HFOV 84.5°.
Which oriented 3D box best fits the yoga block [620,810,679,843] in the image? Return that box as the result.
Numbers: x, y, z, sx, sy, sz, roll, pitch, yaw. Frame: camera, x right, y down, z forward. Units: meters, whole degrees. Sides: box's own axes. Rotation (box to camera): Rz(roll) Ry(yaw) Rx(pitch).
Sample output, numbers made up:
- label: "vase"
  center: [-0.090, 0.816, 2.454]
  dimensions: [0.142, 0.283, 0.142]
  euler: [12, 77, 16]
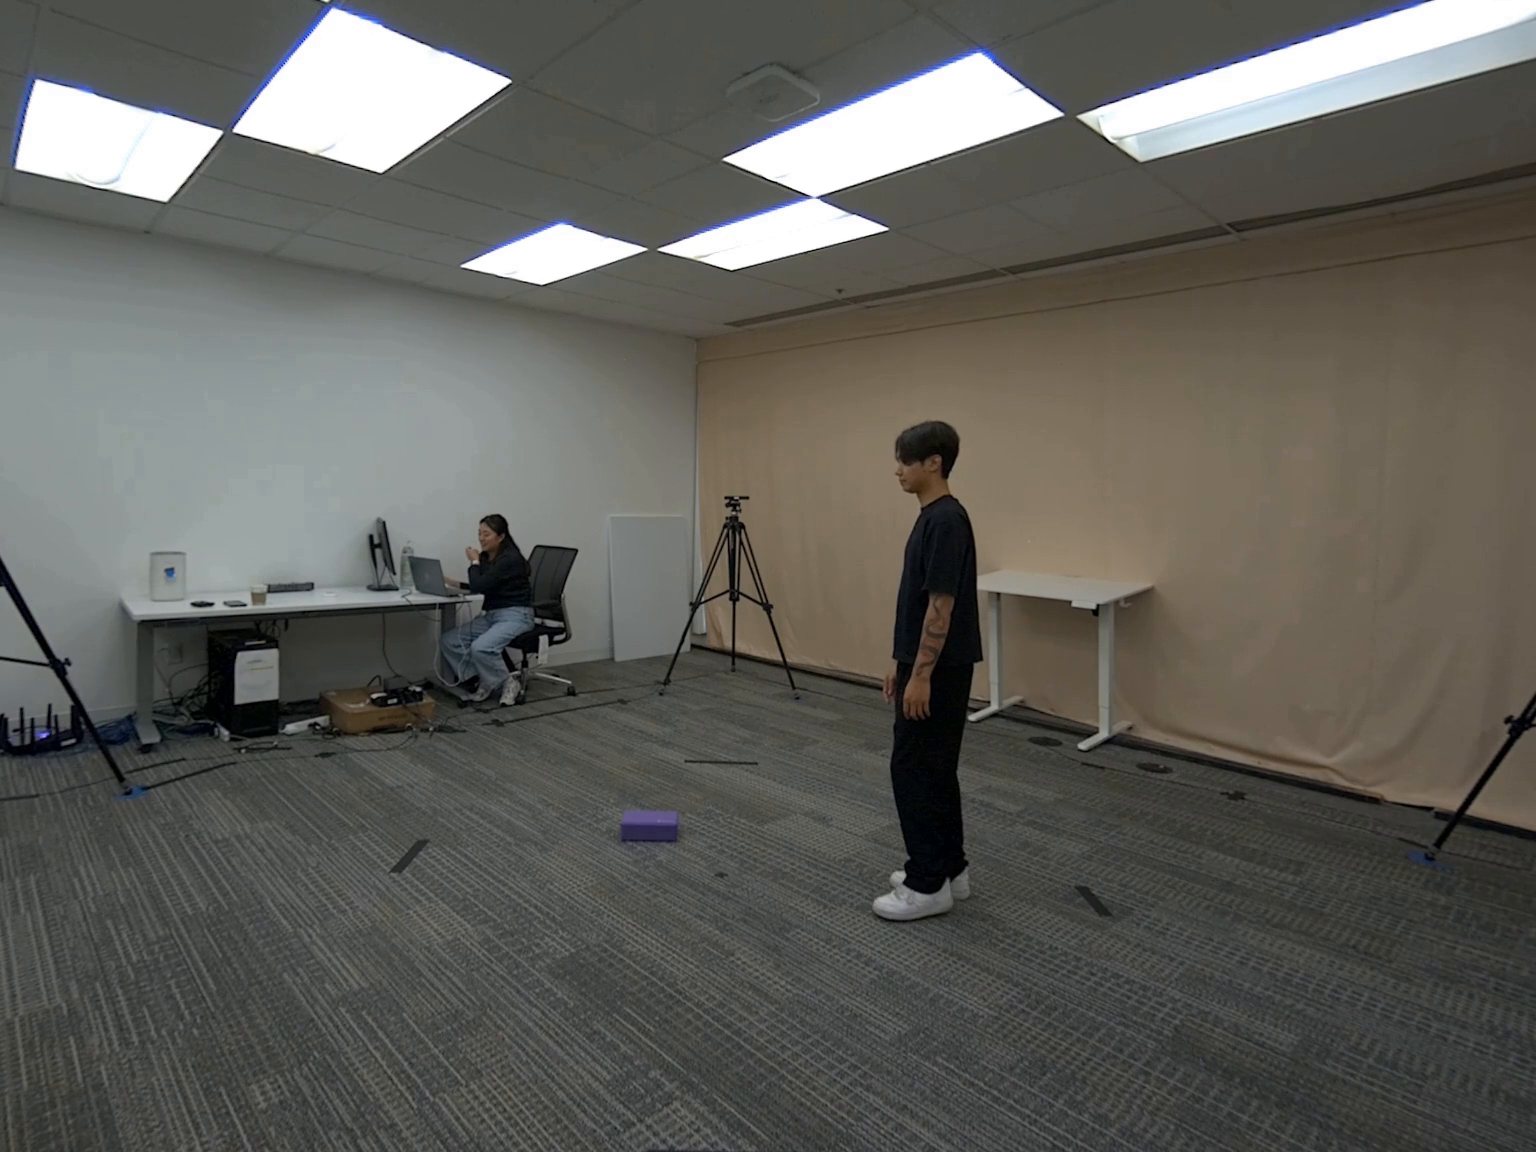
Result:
- label: "yoga block"
  center: [-0.496, 1.026, 3.459]
  dimensions: [0.229, 0.076, 0.150]
  euler: [0, 5, -2]
